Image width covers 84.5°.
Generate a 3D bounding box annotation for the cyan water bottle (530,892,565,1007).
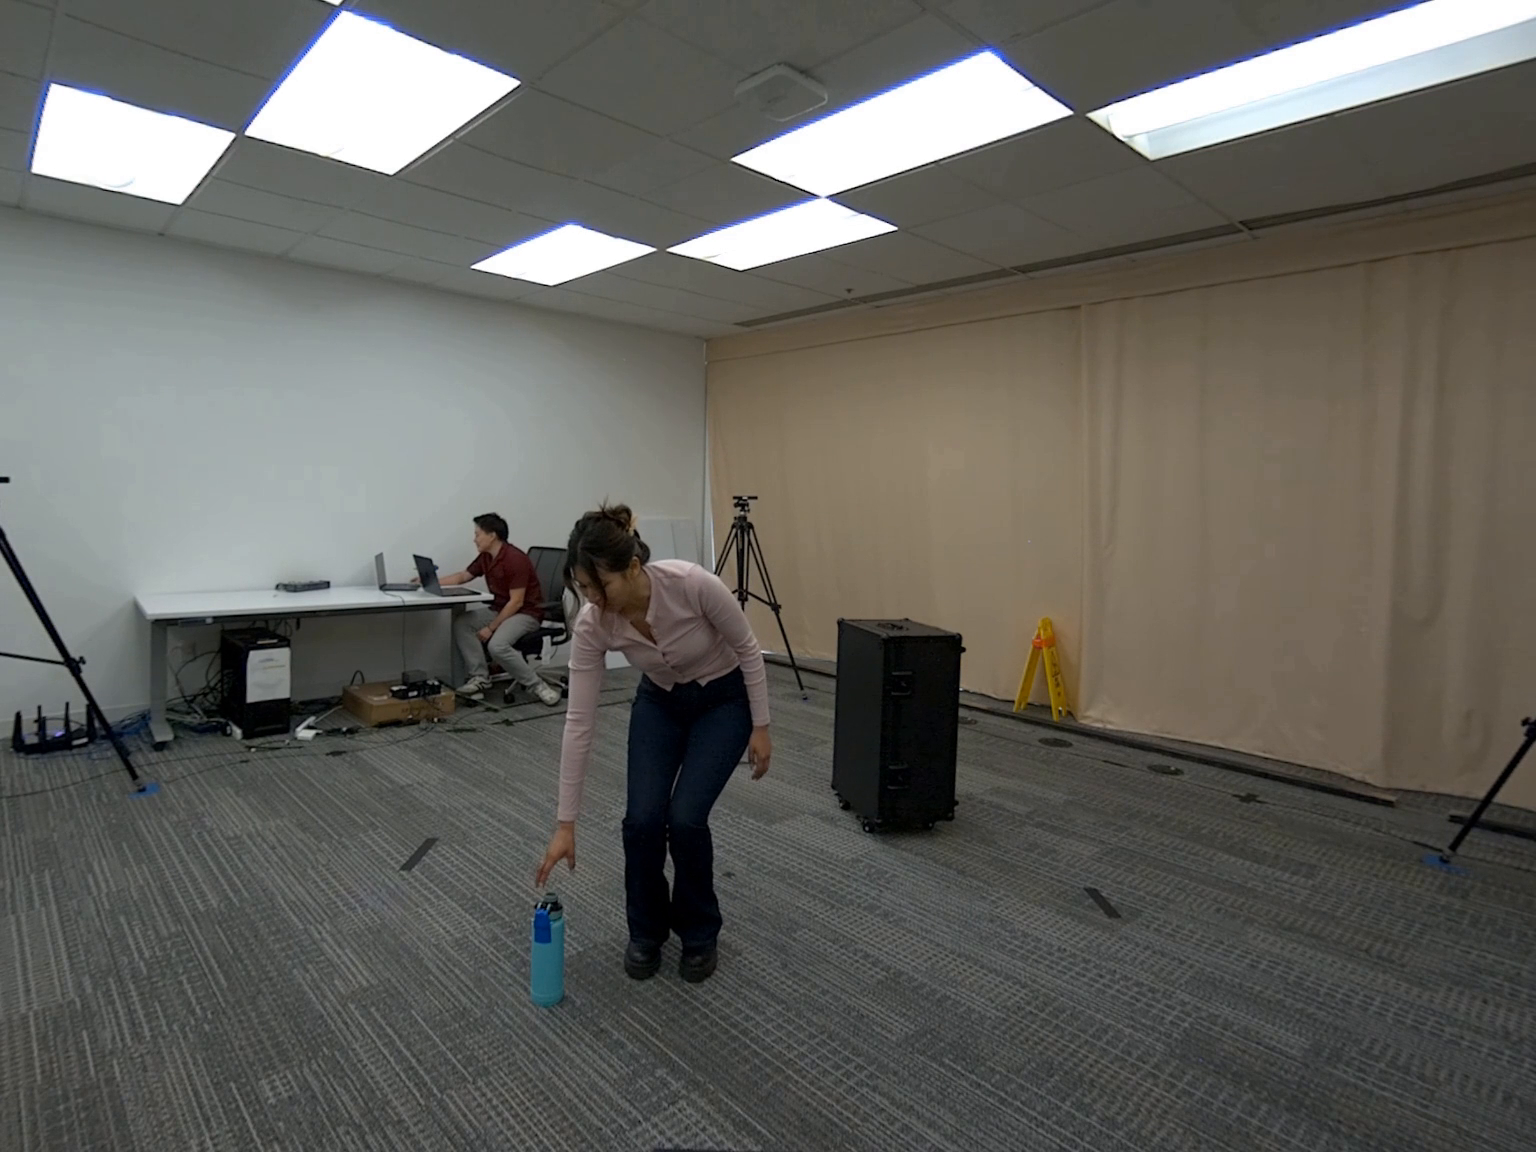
[{"bbox_3d":[-0.611,1.029,2.303,0.092,0.282,0.093,3,6,-2],"label":"cyan water bottle"}]
